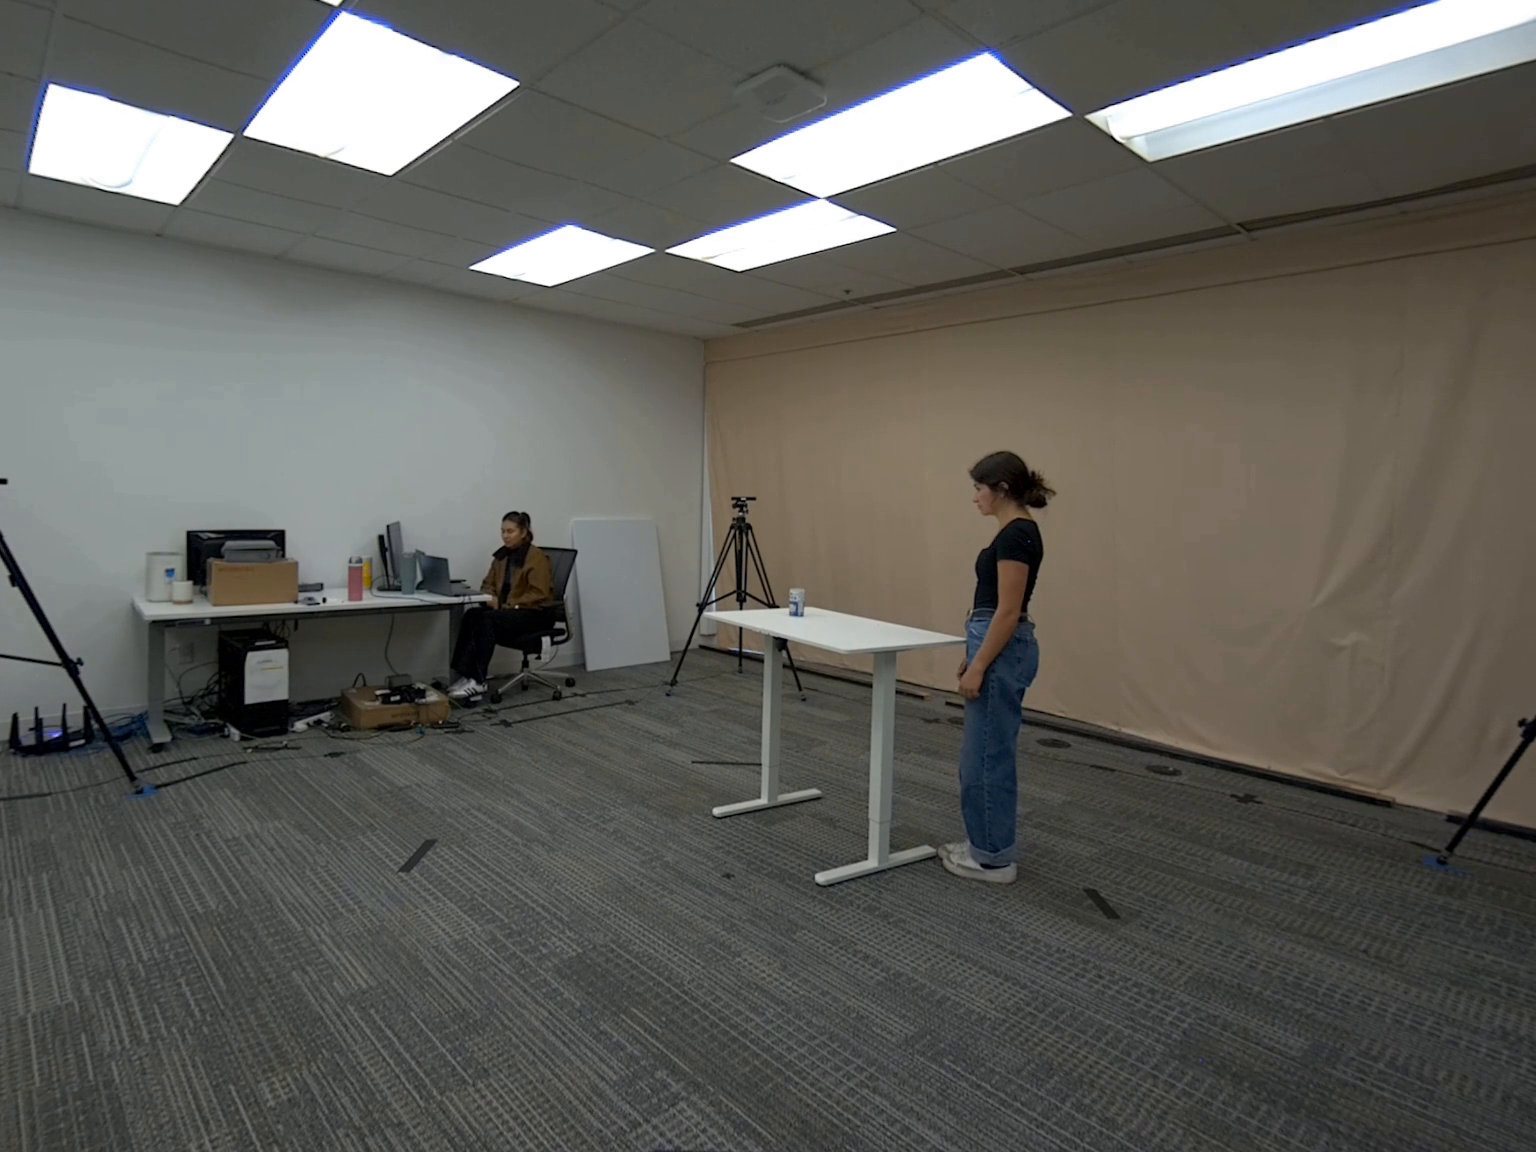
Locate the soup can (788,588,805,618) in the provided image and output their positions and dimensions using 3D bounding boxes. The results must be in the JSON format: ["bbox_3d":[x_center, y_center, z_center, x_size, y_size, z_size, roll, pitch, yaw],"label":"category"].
[{"bbox_3d":[0.112,0.118,3.730,0.067,0.121,0.067,1,6,-2],"label":"soup can"}]
